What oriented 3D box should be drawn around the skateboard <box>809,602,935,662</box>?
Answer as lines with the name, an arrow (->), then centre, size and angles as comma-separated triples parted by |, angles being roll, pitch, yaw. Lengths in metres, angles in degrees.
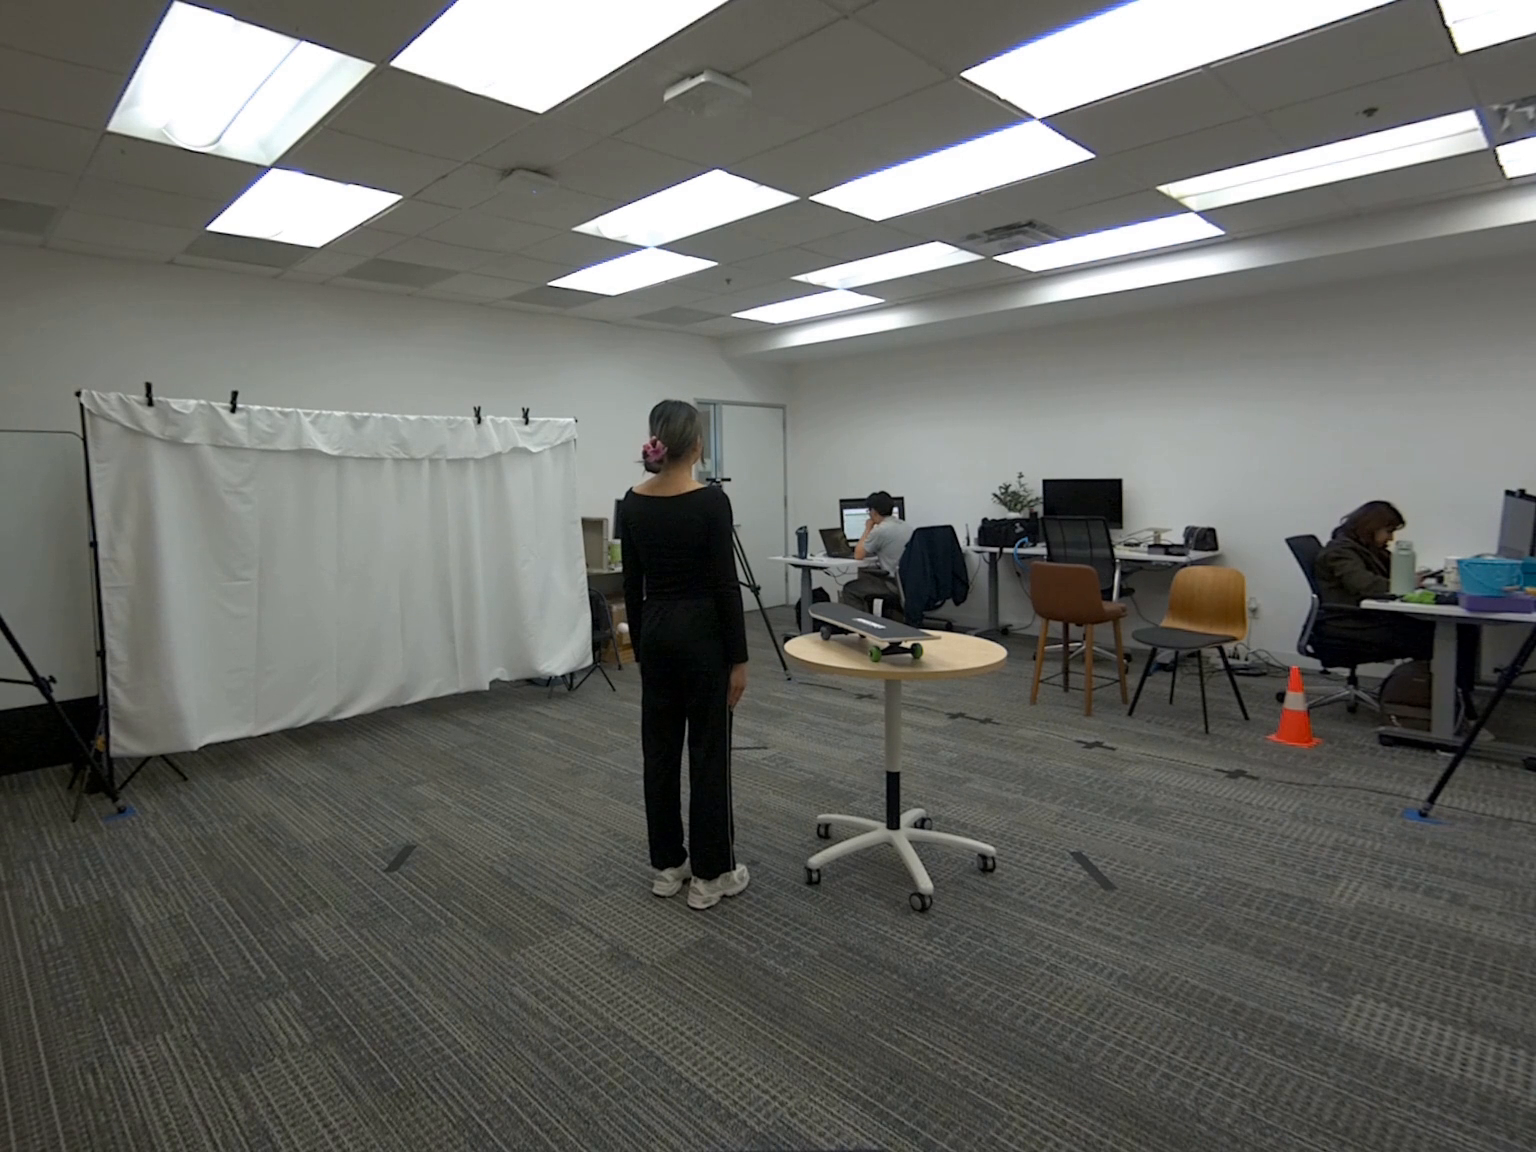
skateboard -> 0.357, 0.206, 2.995 | 0.190, 0.110, 0.802 | -3, 7, -19
